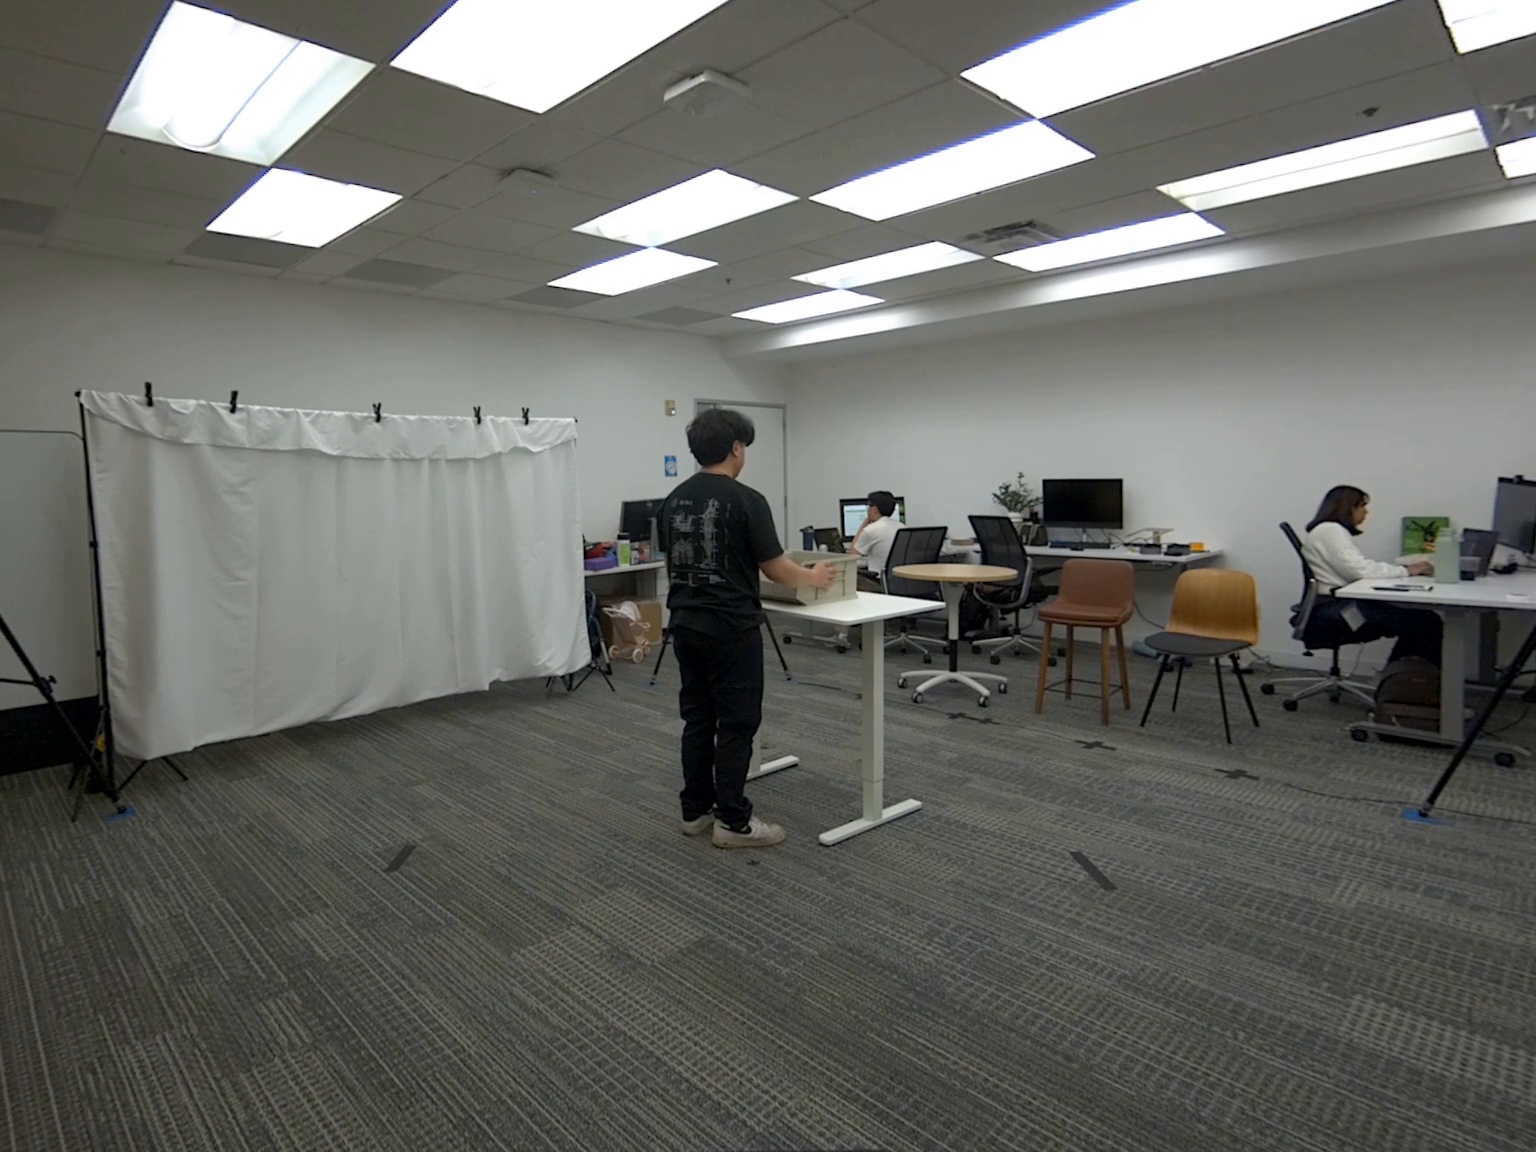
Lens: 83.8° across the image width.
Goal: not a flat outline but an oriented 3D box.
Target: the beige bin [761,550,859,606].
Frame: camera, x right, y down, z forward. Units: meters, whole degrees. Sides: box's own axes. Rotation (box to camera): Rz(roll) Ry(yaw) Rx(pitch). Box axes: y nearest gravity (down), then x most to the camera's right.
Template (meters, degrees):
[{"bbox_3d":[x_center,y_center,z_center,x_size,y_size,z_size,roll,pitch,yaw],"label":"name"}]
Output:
[{"bbox_3d":[0.118,0.007,3.671,0.367,0.188,0.435,-6,8,-40],"label":"beige bin"}]
